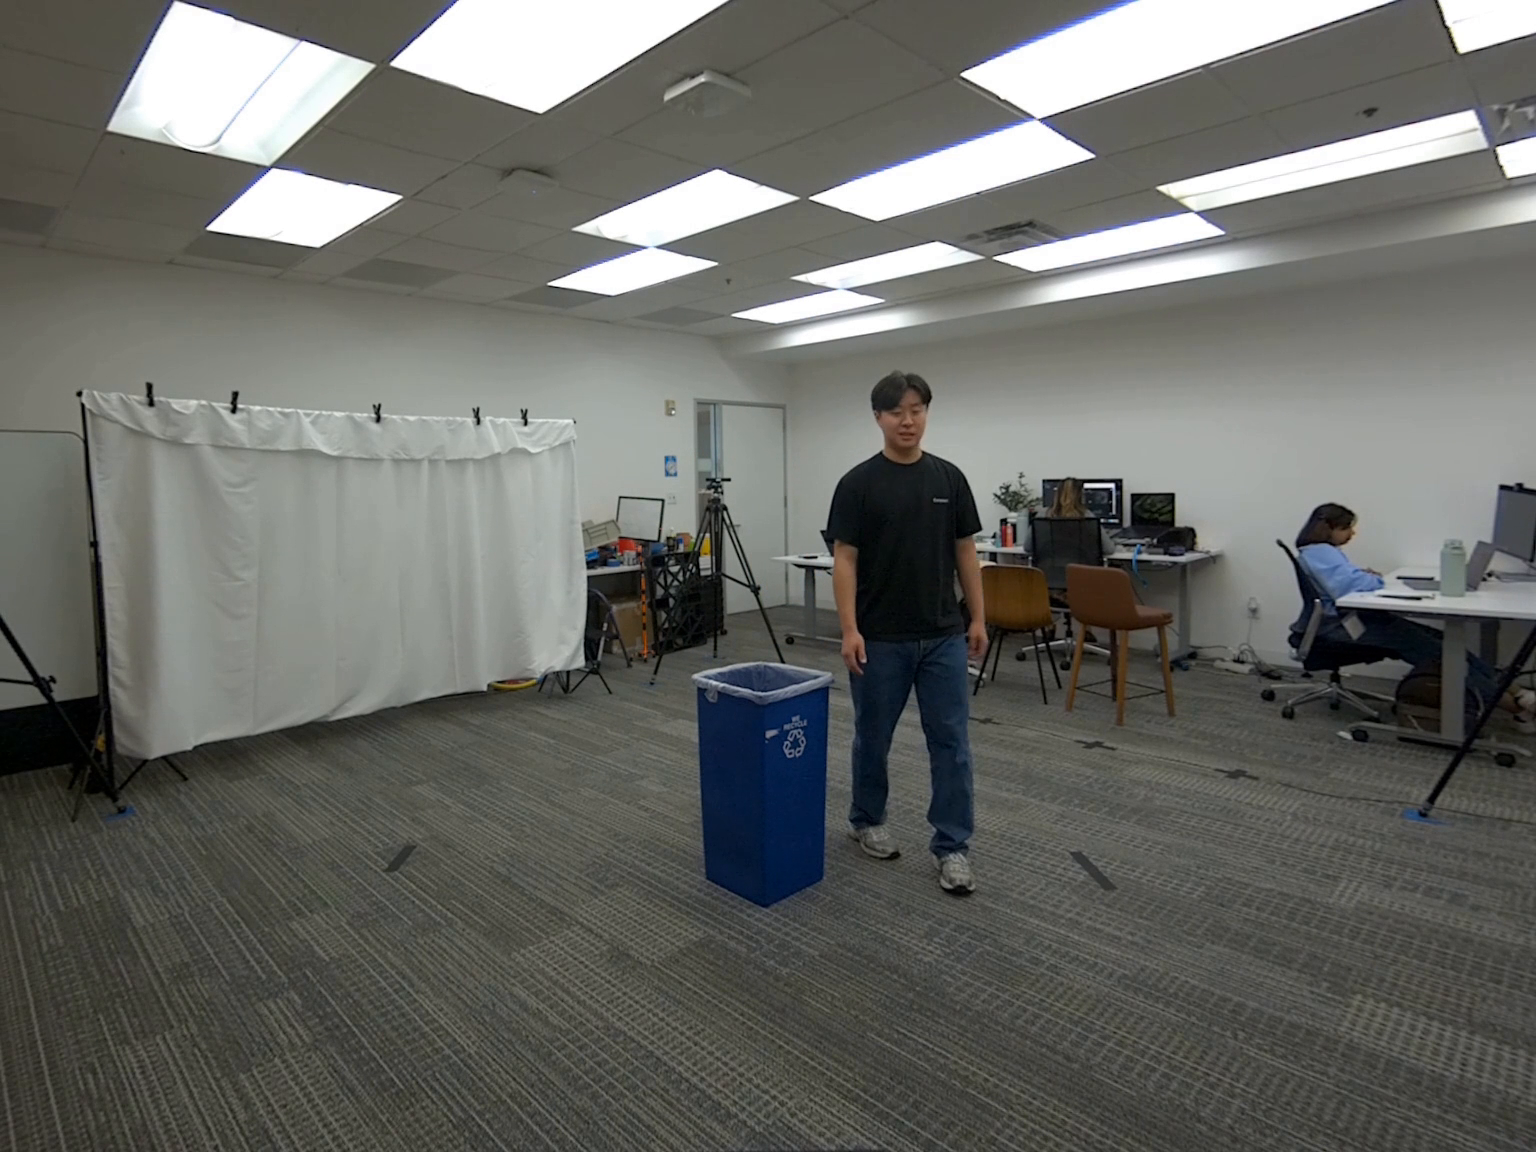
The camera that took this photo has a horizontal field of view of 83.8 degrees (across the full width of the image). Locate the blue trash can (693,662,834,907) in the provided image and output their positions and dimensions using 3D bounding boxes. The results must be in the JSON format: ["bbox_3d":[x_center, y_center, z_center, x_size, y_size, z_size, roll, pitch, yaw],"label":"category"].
[{"bbox_3d":[-0.012,0.697,2.968,0.364,0.711,0.390,-5,6,-44],"label":"blue trash can"}]
